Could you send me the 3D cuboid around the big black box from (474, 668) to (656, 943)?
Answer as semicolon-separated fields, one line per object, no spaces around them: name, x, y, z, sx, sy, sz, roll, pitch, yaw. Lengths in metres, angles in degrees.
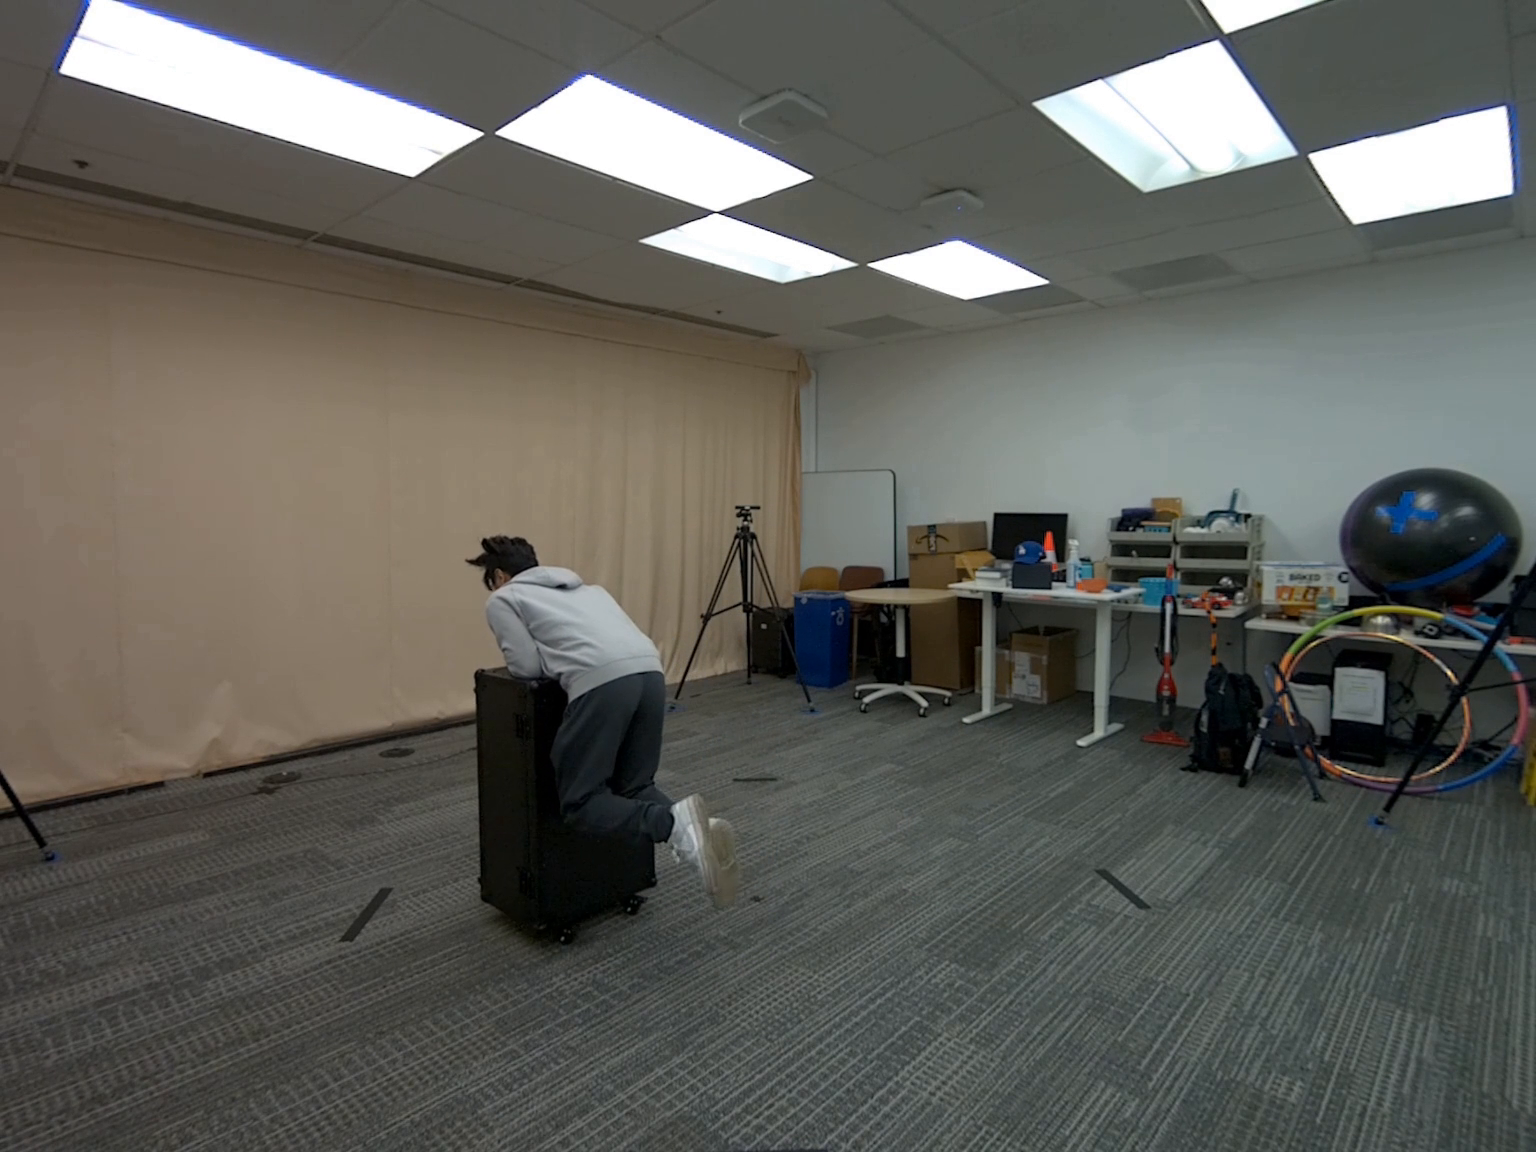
big black box;-0.695;0.737;2.876;0.409;0.860;0.505;0;3;44
